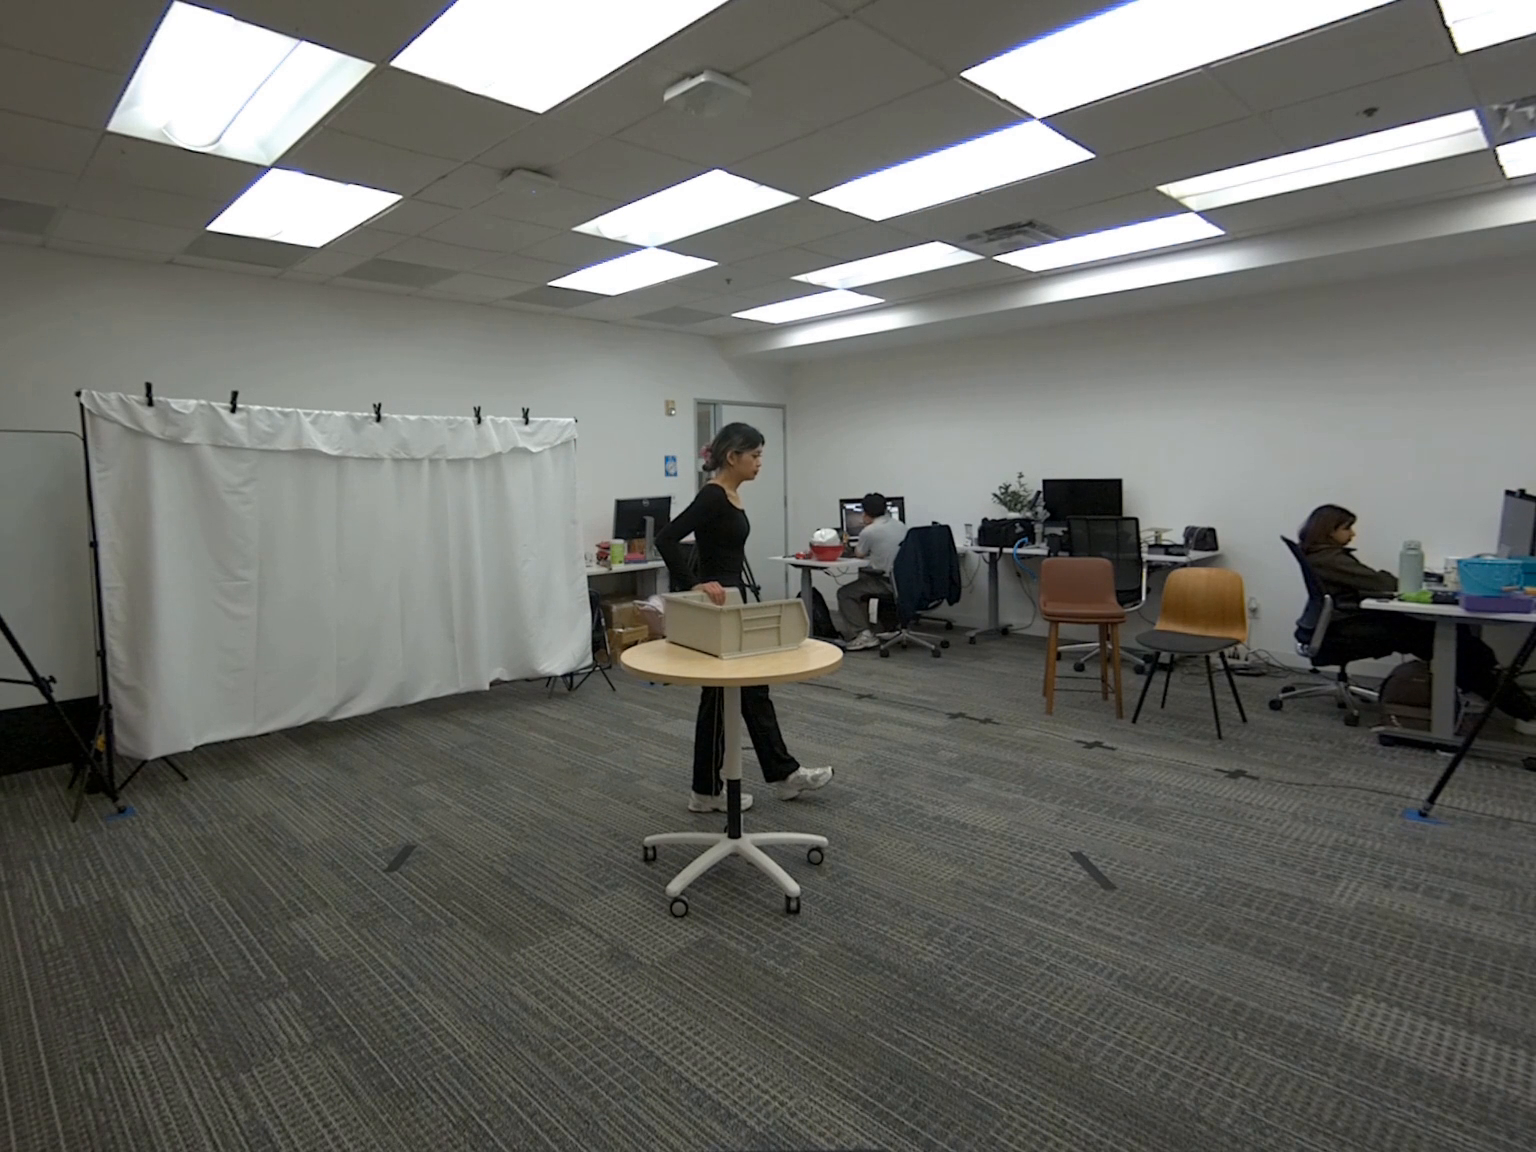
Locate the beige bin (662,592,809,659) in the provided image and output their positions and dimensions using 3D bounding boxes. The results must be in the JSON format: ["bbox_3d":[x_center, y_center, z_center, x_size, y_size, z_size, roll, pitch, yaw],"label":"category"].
[{"bbox_3d":[-0.120,0.165,3.106,0.368,0.188,0.435,-6,8,-33],"label":"beige bin"}]
